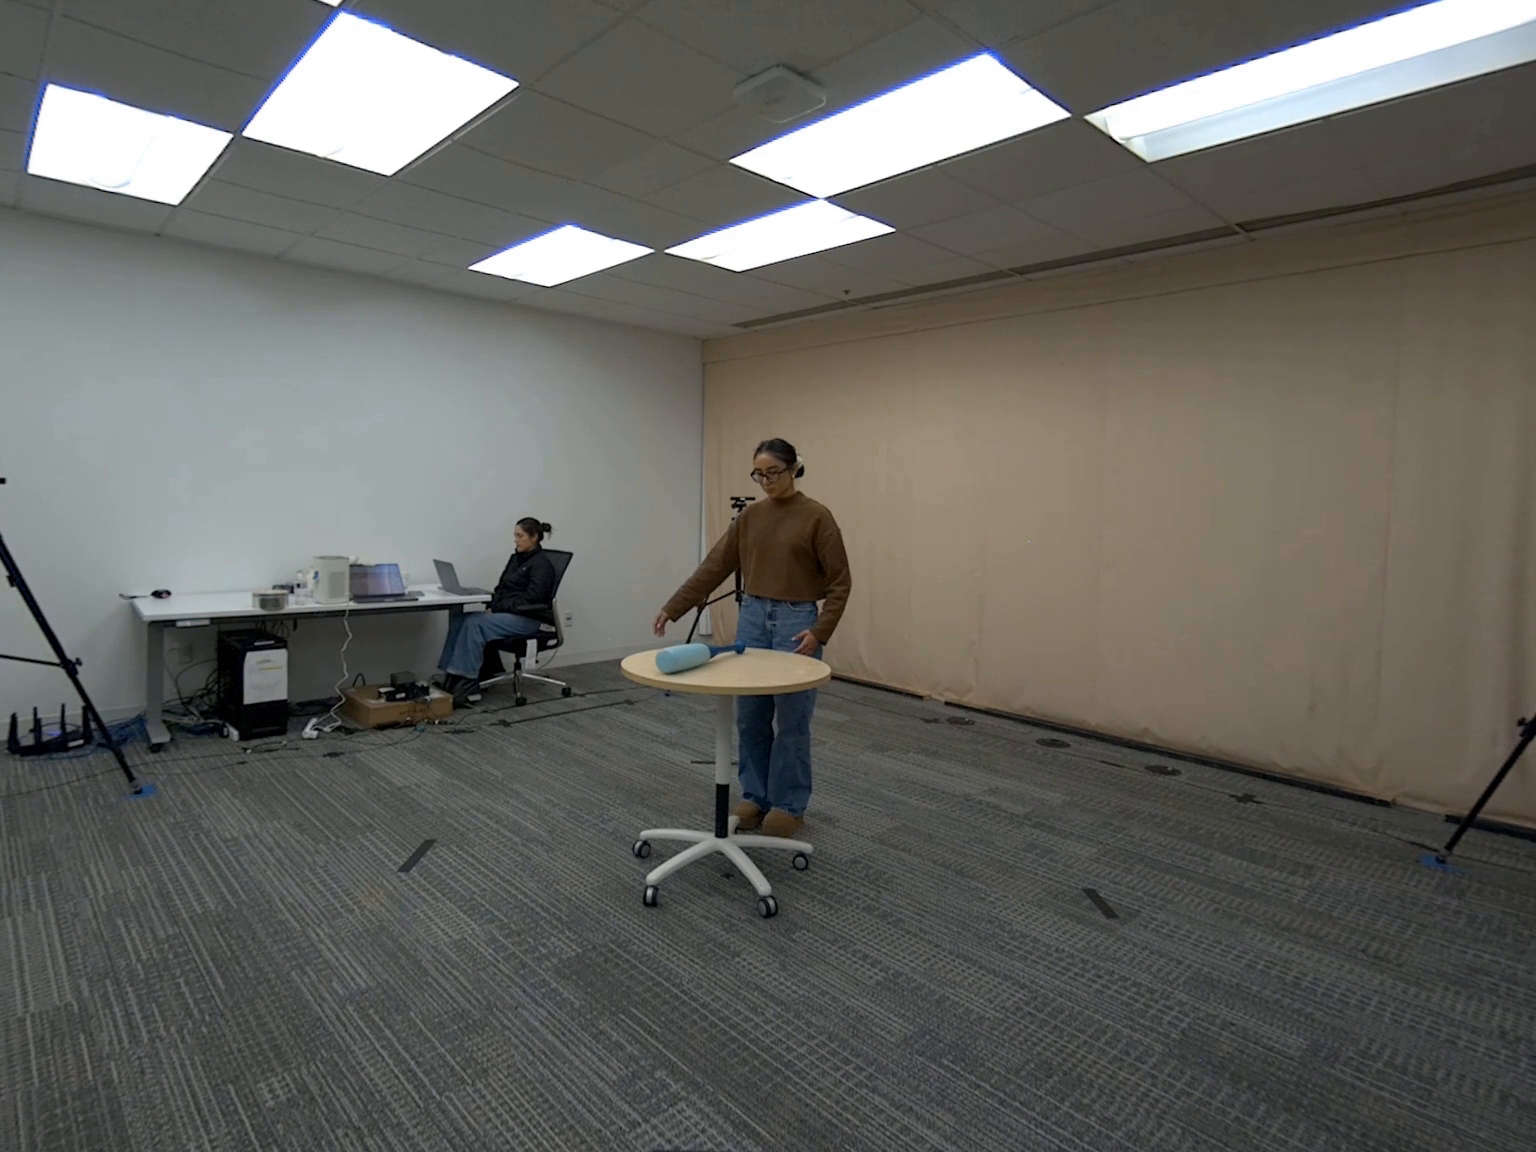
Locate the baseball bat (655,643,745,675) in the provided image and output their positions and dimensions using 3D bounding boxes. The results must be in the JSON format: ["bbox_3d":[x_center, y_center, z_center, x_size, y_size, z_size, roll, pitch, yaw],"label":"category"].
[{"bbox_3d":[-0.236,0.287,3.091,0.091,0.089,0.532,4,2,27],"label":"baseball bat"}]
